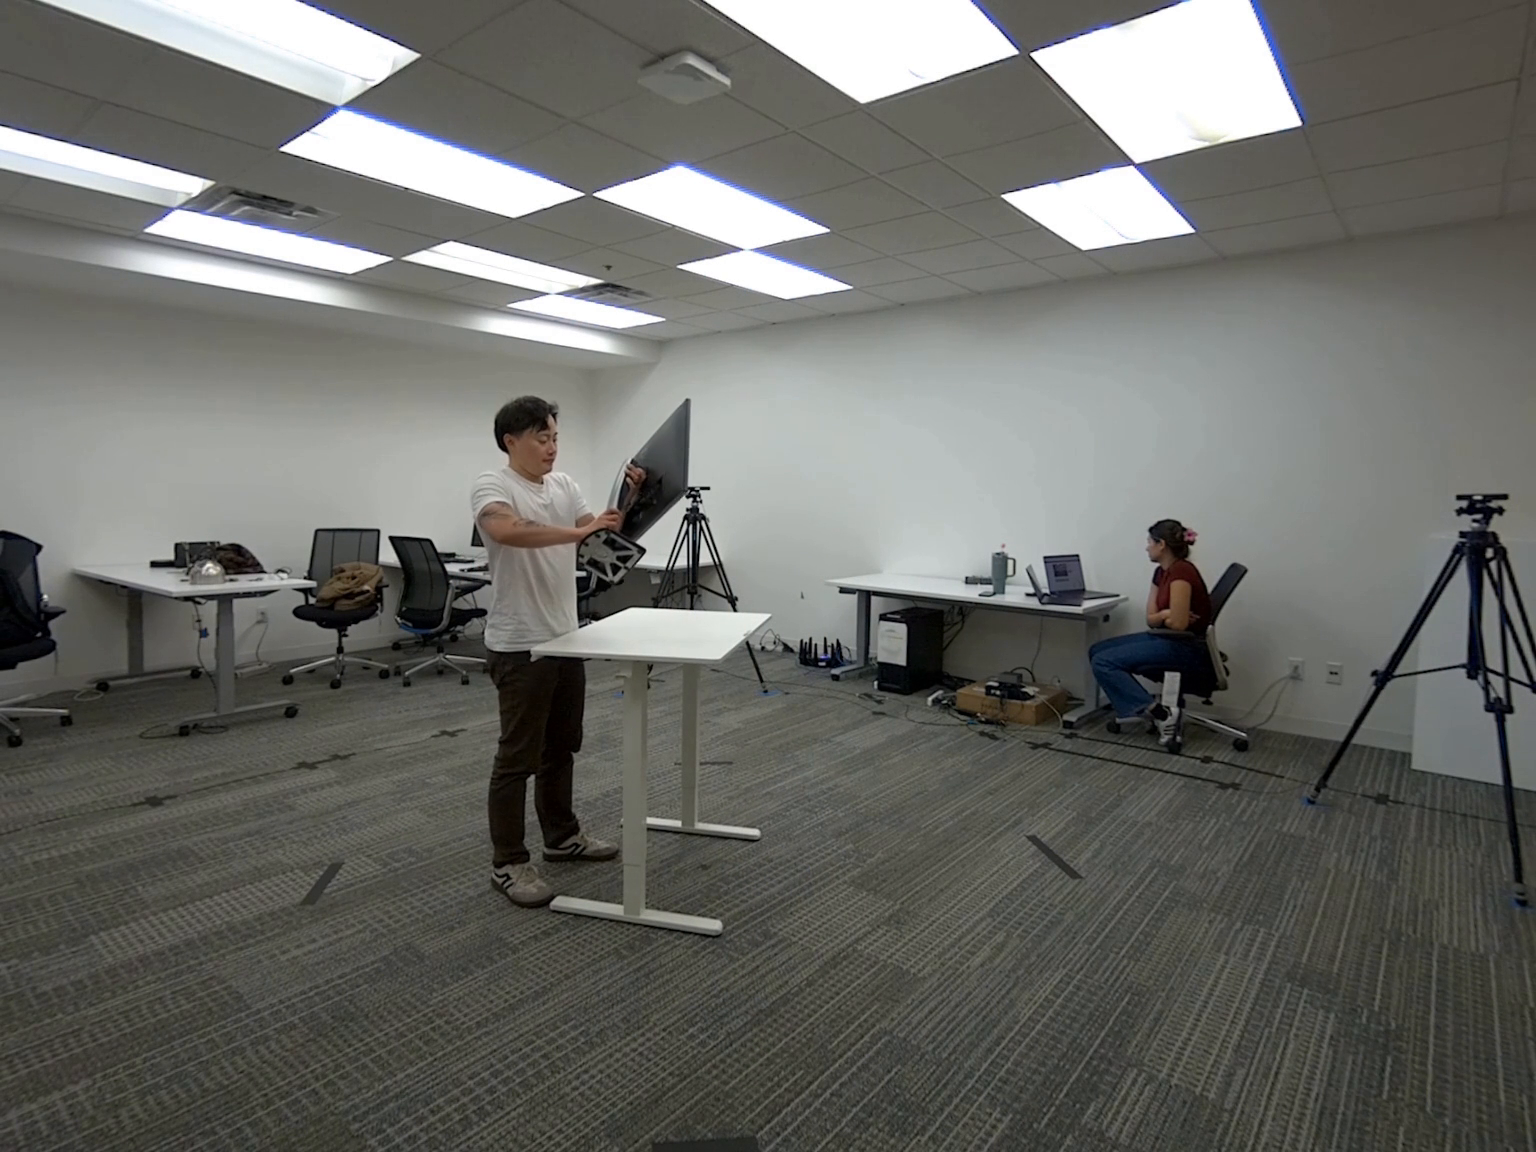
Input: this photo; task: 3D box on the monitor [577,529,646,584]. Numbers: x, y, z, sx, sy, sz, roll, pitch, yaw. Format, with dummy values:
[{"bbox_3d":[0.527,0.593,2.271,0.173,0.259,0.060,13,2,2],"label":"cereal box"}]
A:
[{"bbox_3d":[-0.451,-0.258,2.821,0.182,0.532,0.544,30,-37,-22],"label":"monitor"}]
